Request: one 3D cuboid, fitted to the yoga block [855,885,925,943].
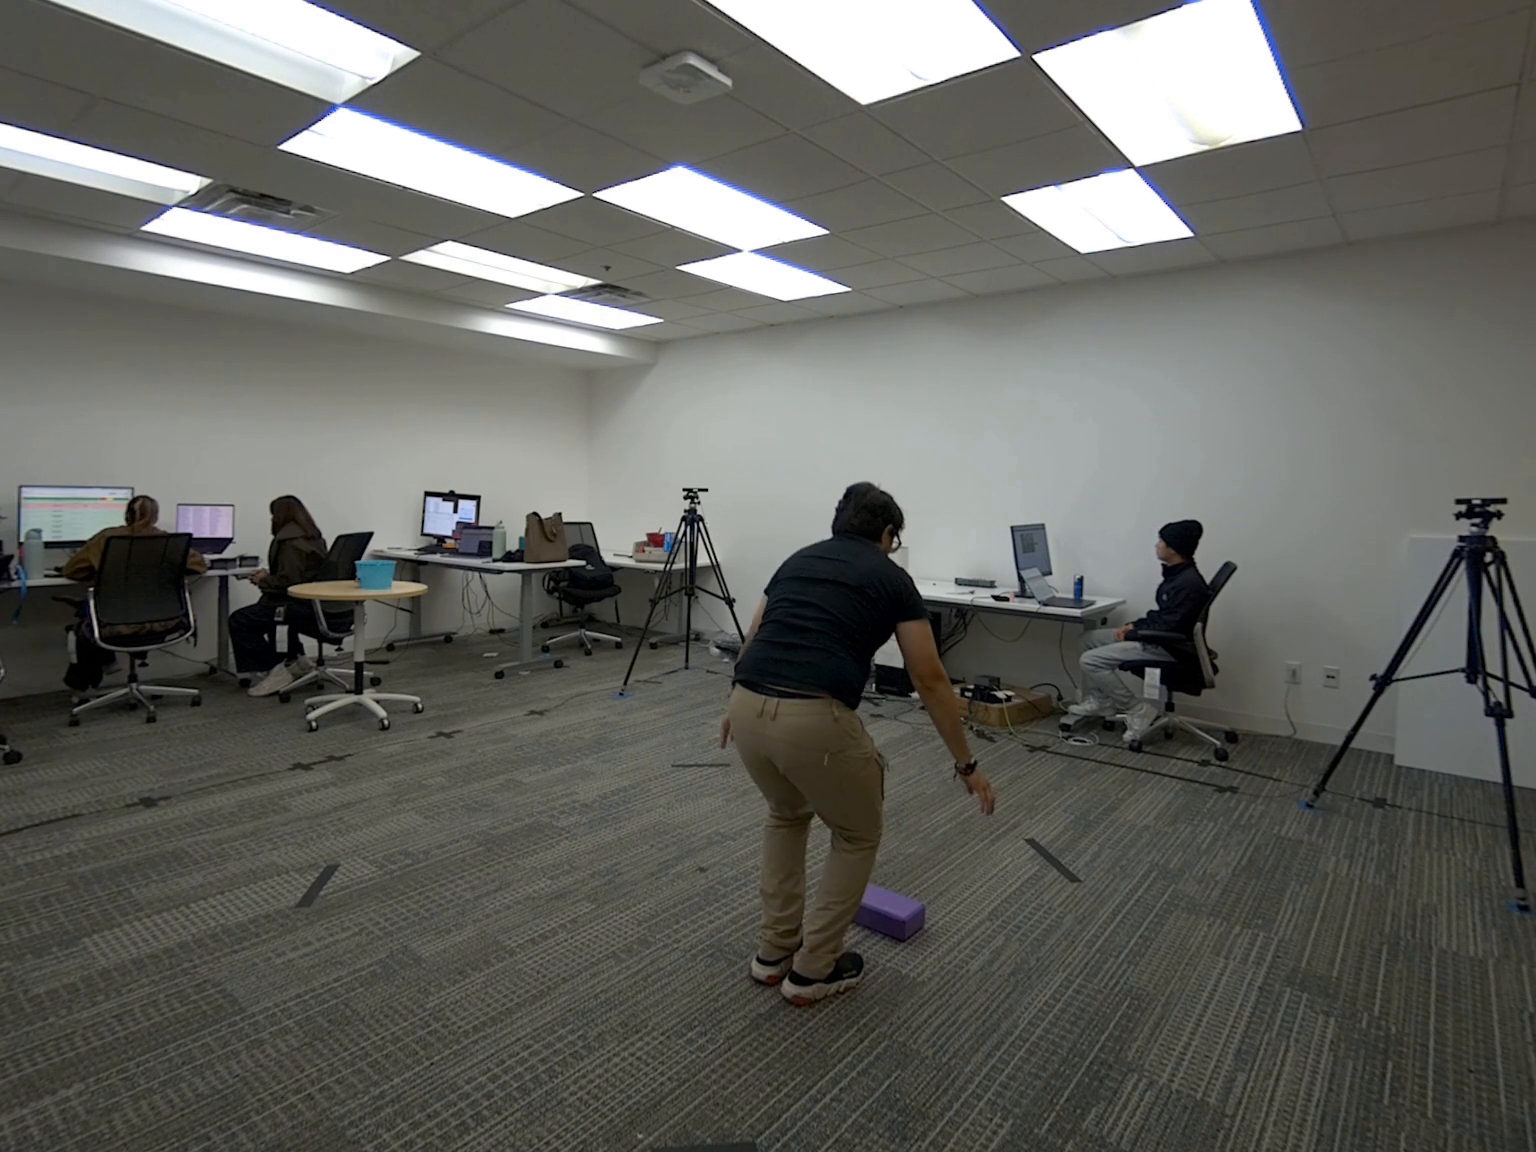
[{"bbox_3d":[0.369,1.079,2.752,0.237,0.076,0.144,5,5,38],"label":"yoga block"}]
